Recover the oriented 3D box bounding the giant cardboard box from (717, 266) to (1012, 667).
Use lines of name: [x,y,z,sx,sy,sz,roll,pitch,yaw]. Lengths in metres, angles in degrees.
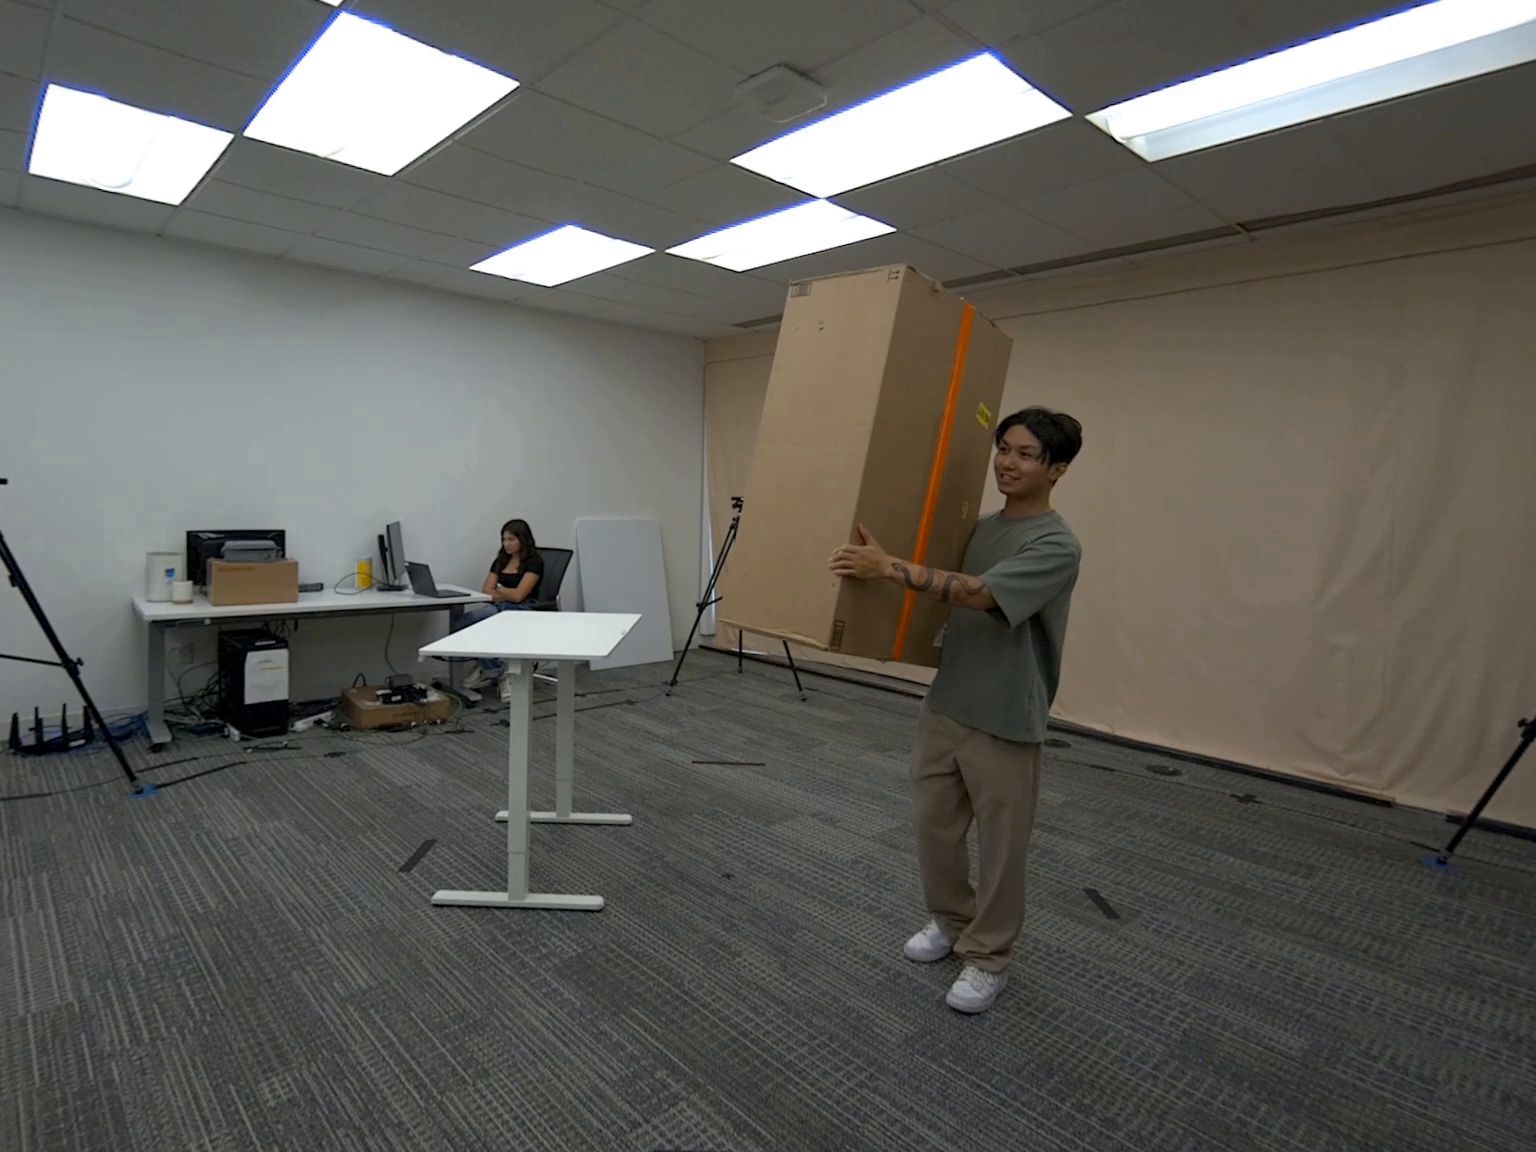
giant cardboard box: [0.294,-0.285,2.480,0.561,1.027,0.438,14,-4,-44]
